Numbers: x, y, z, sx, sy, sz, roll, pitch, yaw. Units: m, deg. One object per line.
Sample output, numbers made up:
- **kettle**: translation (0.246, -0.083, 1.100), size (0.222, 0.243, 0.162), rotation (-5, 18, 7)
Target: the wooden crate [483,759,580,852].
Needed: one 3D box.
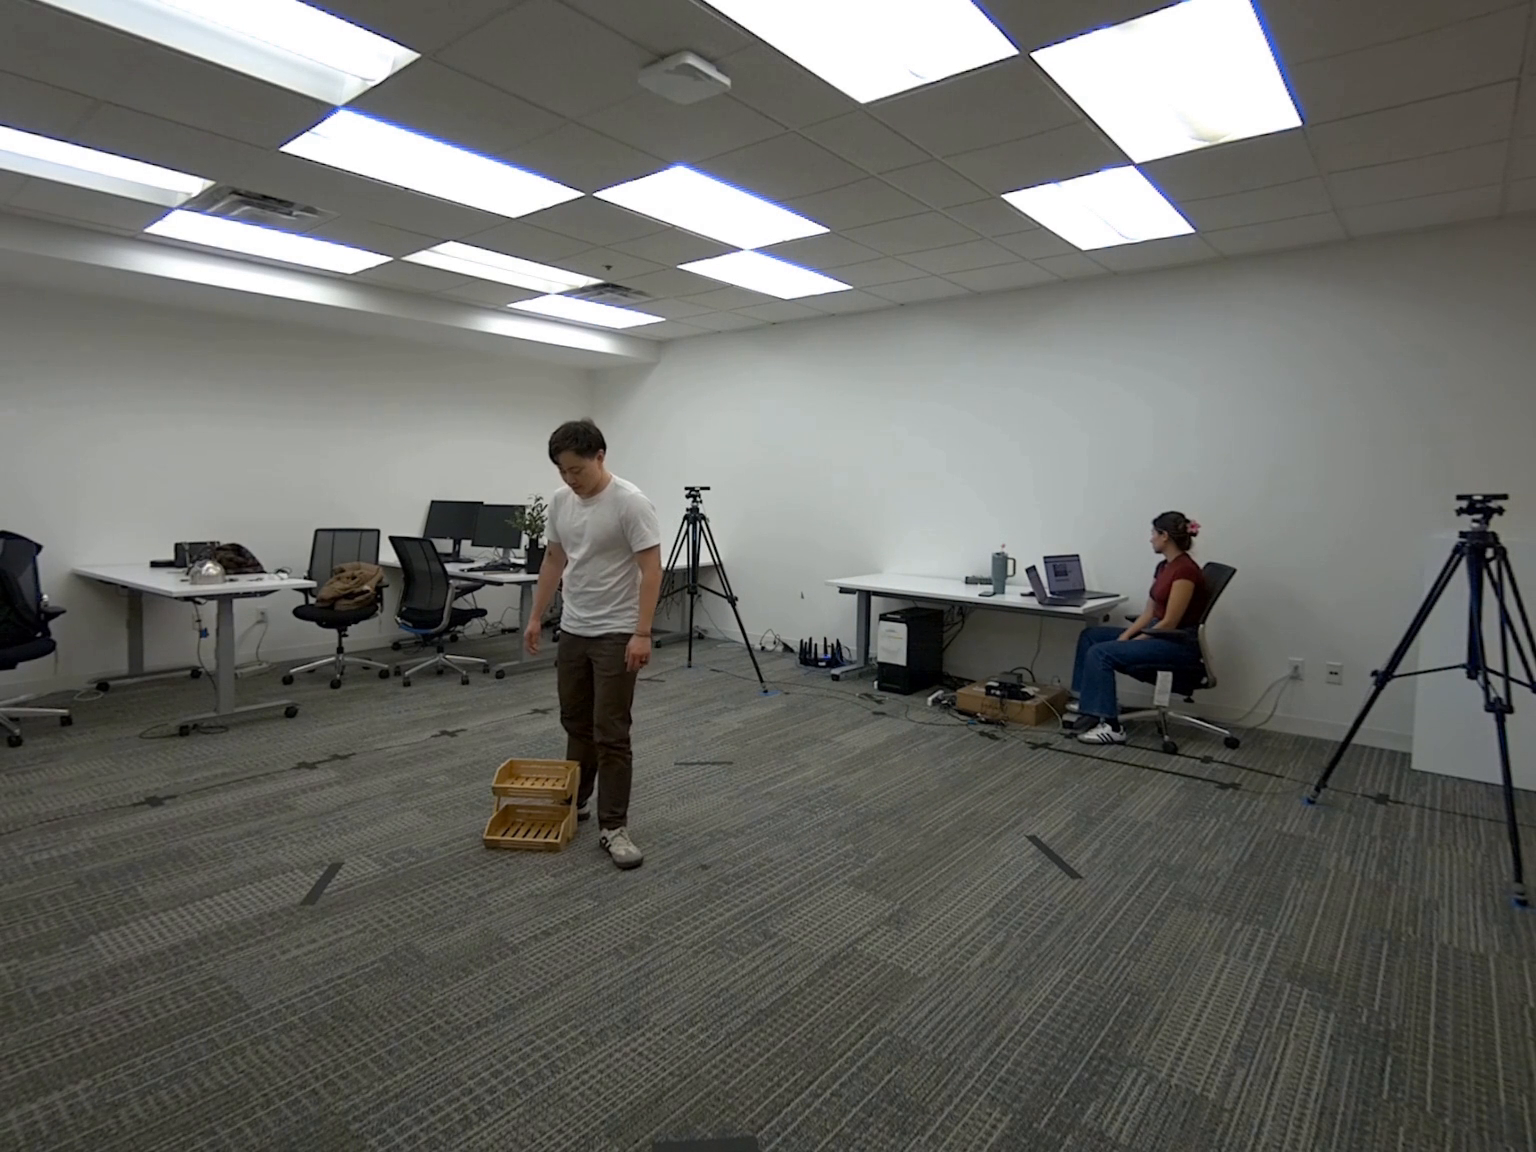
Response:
- **wooden crate**: translation (-0.954, 0.905, 3.350), size (0.327, 0.272, 0.301), rotation (0, 4, 6)
